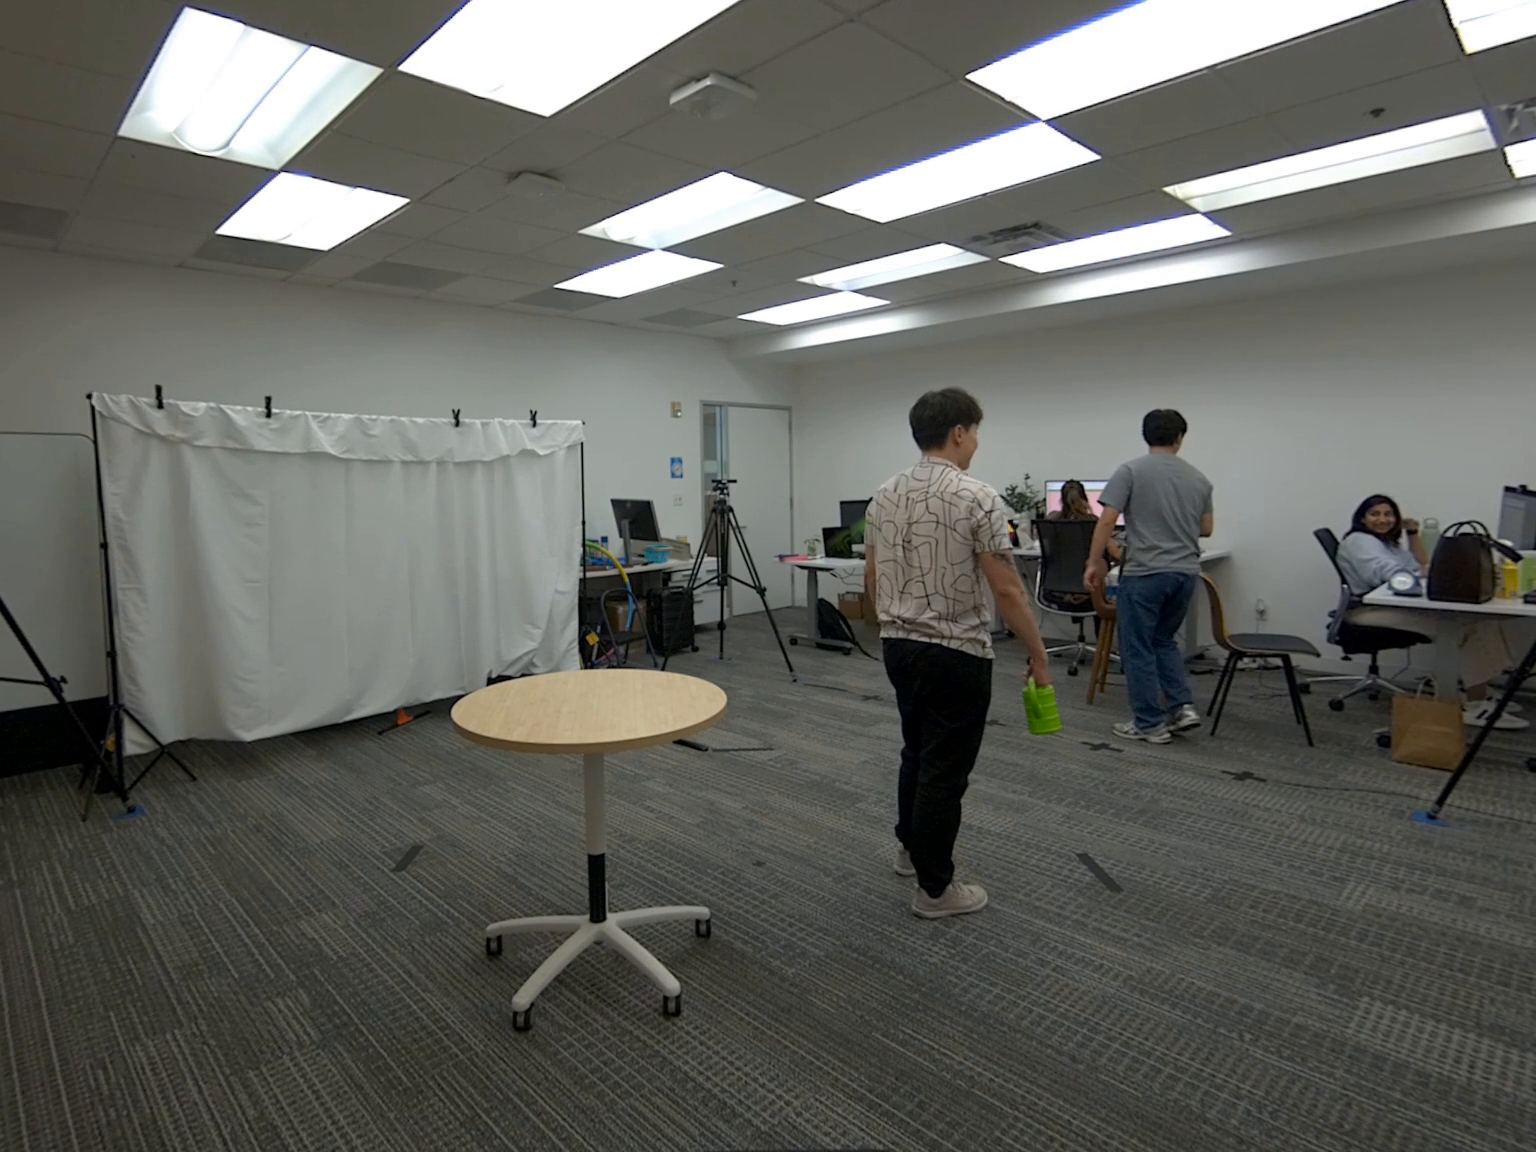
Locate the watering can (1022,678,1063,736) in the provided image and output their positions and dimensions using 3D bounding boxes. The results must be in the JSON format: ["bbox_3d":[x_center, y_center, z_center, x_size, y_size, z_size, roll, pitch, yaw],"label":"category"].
[{"bbox_3d":[0.850,0.386,2.653,0.100,0.178,0.271,-17,-8,41],"label":"watering can"}]
